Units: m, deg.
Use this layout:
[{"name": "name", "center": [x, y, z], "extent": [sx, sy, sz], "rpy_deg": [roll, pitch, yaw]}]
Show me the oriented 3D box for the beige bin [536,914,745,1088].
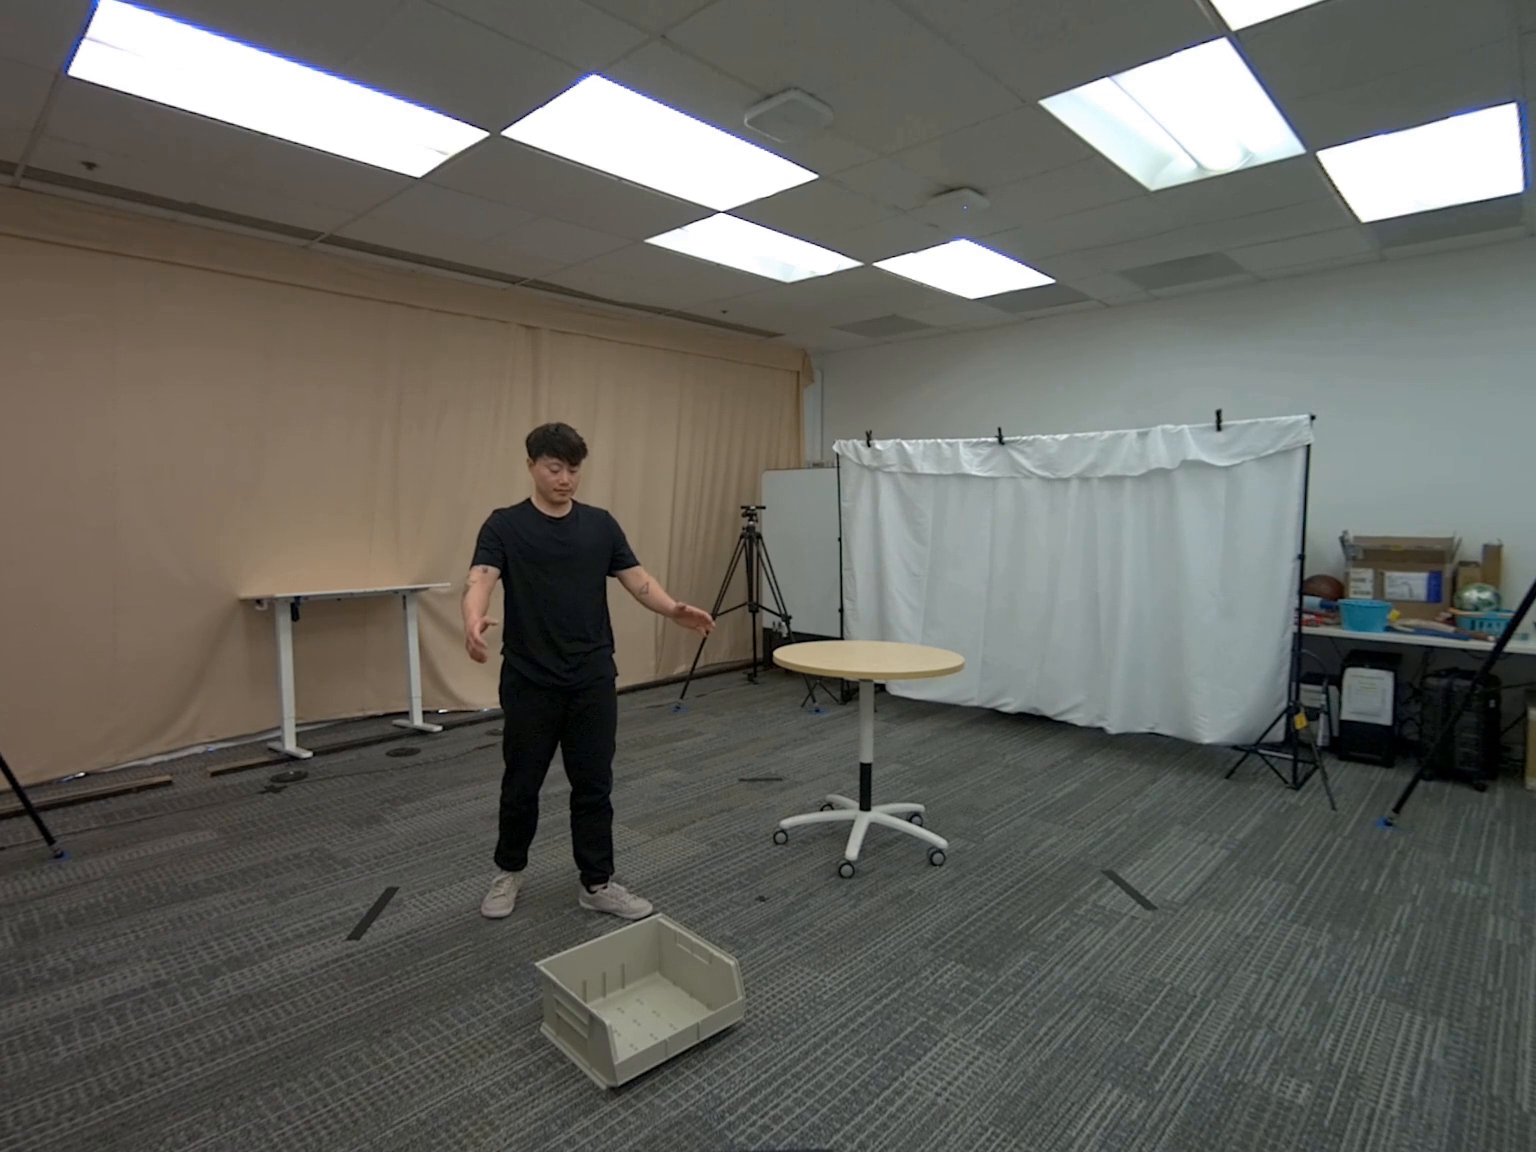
[{"name": "beige bin", "center": [-0.337, 1.122, 2.232], "extent": [0.409, 0.188, 0.390], "rpy_deg": [-4, 5, -42]}]
